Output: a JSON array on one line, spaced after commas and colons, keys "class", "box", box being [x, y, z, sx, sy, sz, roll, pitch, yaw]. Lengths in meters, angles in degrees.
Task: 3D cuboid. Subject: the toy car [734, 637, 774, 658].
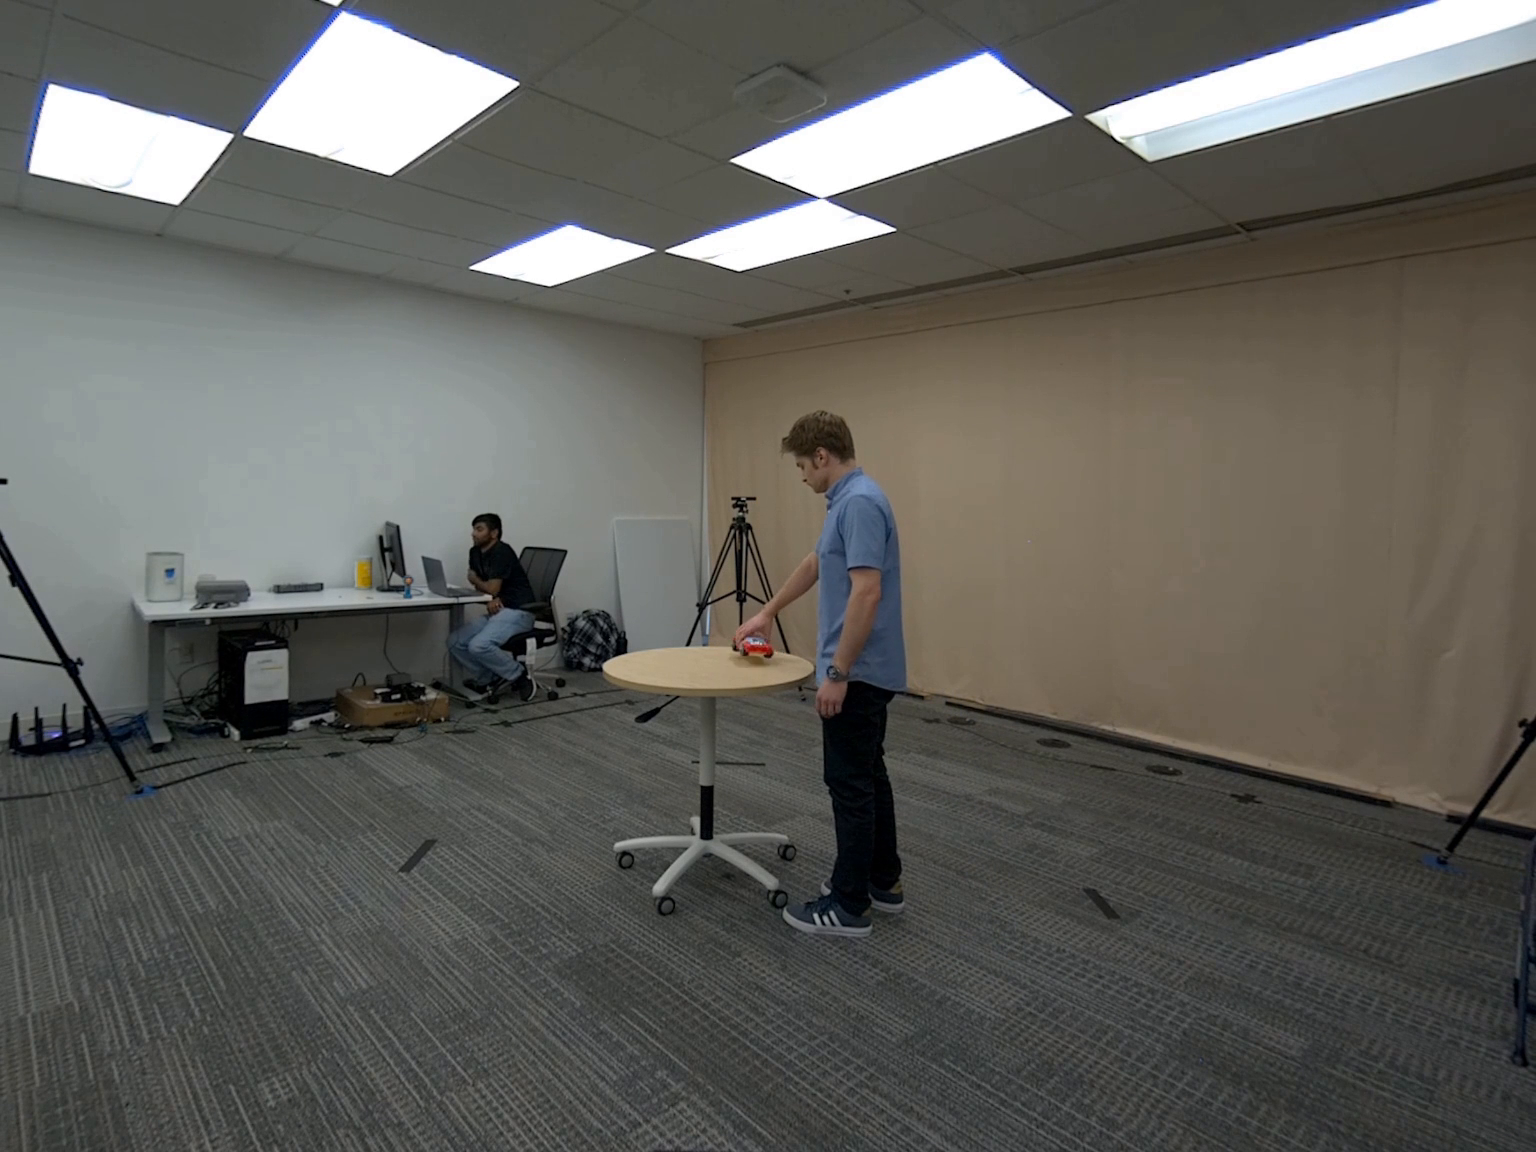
[{"class": "toy car", "box": [-0.068, 0.266, 3.171, 0.129, 0.082, 0.258, 5, 12, -11]}]
